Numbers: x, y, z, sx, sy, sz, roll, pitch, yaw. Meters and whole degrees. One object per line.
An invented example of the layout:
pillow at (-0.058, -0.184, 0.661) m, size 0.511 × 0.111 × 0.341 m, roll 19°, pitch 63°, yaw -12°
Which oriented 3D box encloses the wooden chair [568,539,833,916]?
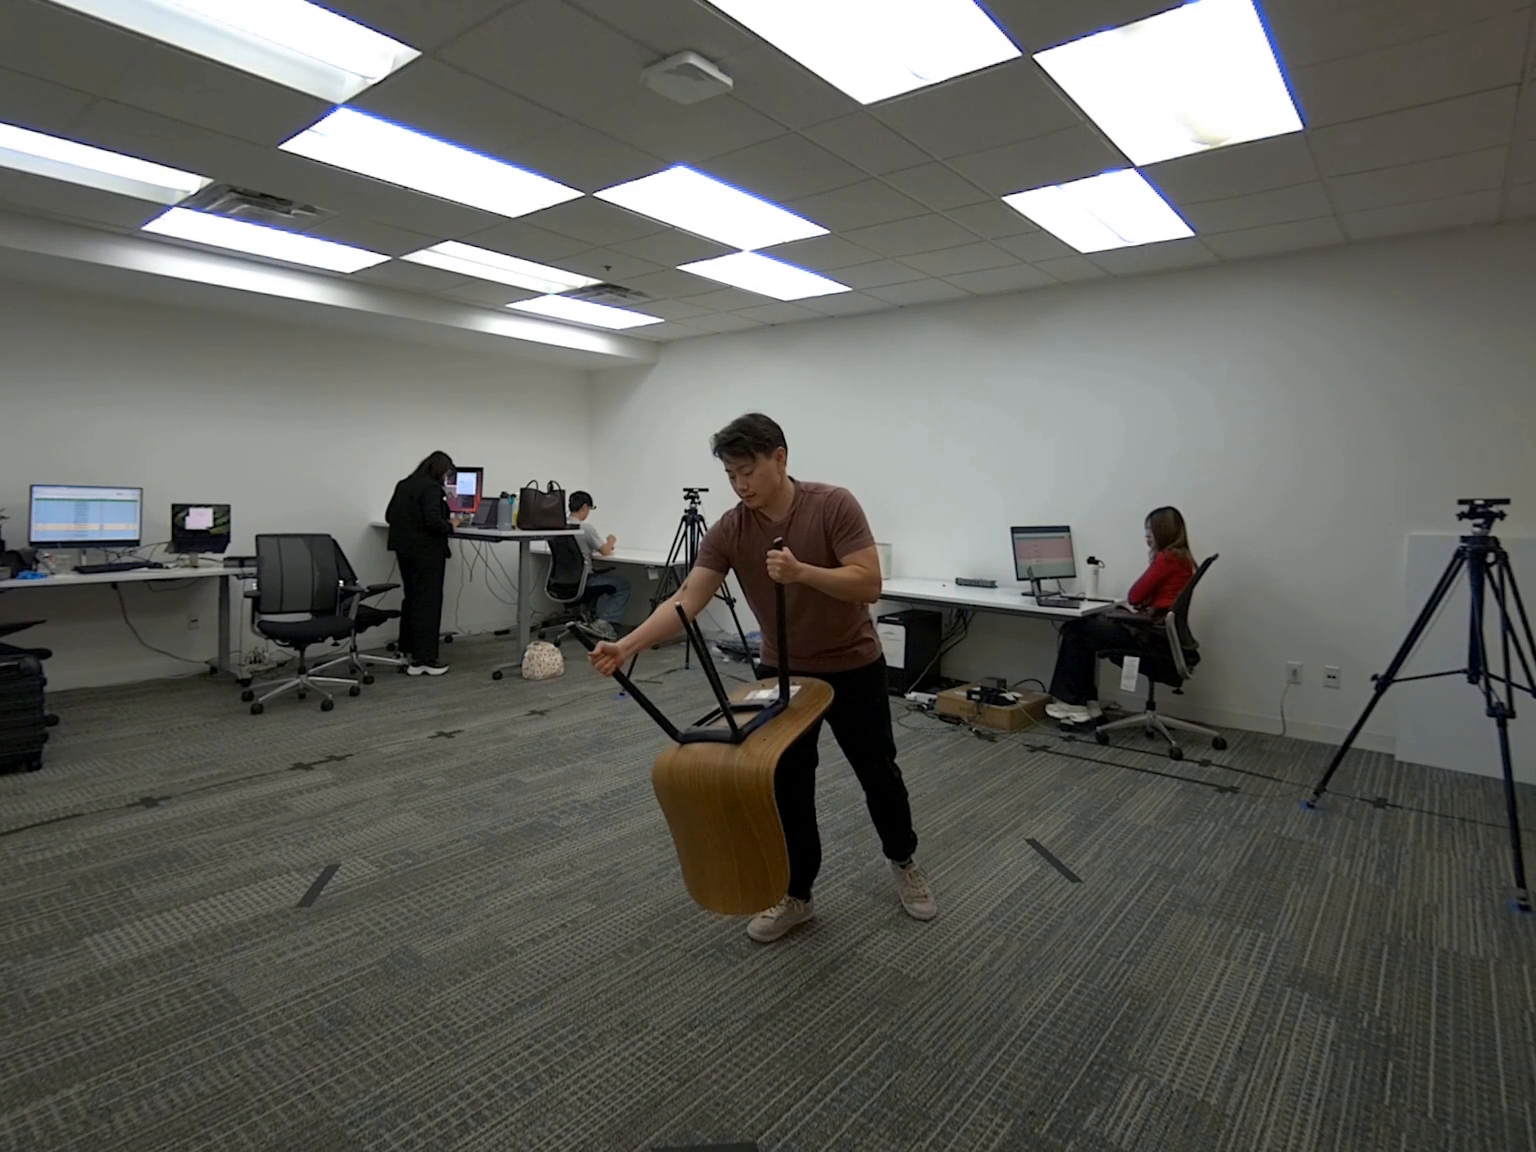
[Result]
wooden chair at (-0.112, 0.406, 2.400) m, size 0.489 × 0.872 × 0.514 m, roll -14°, pitch 7°, yaw 42°
